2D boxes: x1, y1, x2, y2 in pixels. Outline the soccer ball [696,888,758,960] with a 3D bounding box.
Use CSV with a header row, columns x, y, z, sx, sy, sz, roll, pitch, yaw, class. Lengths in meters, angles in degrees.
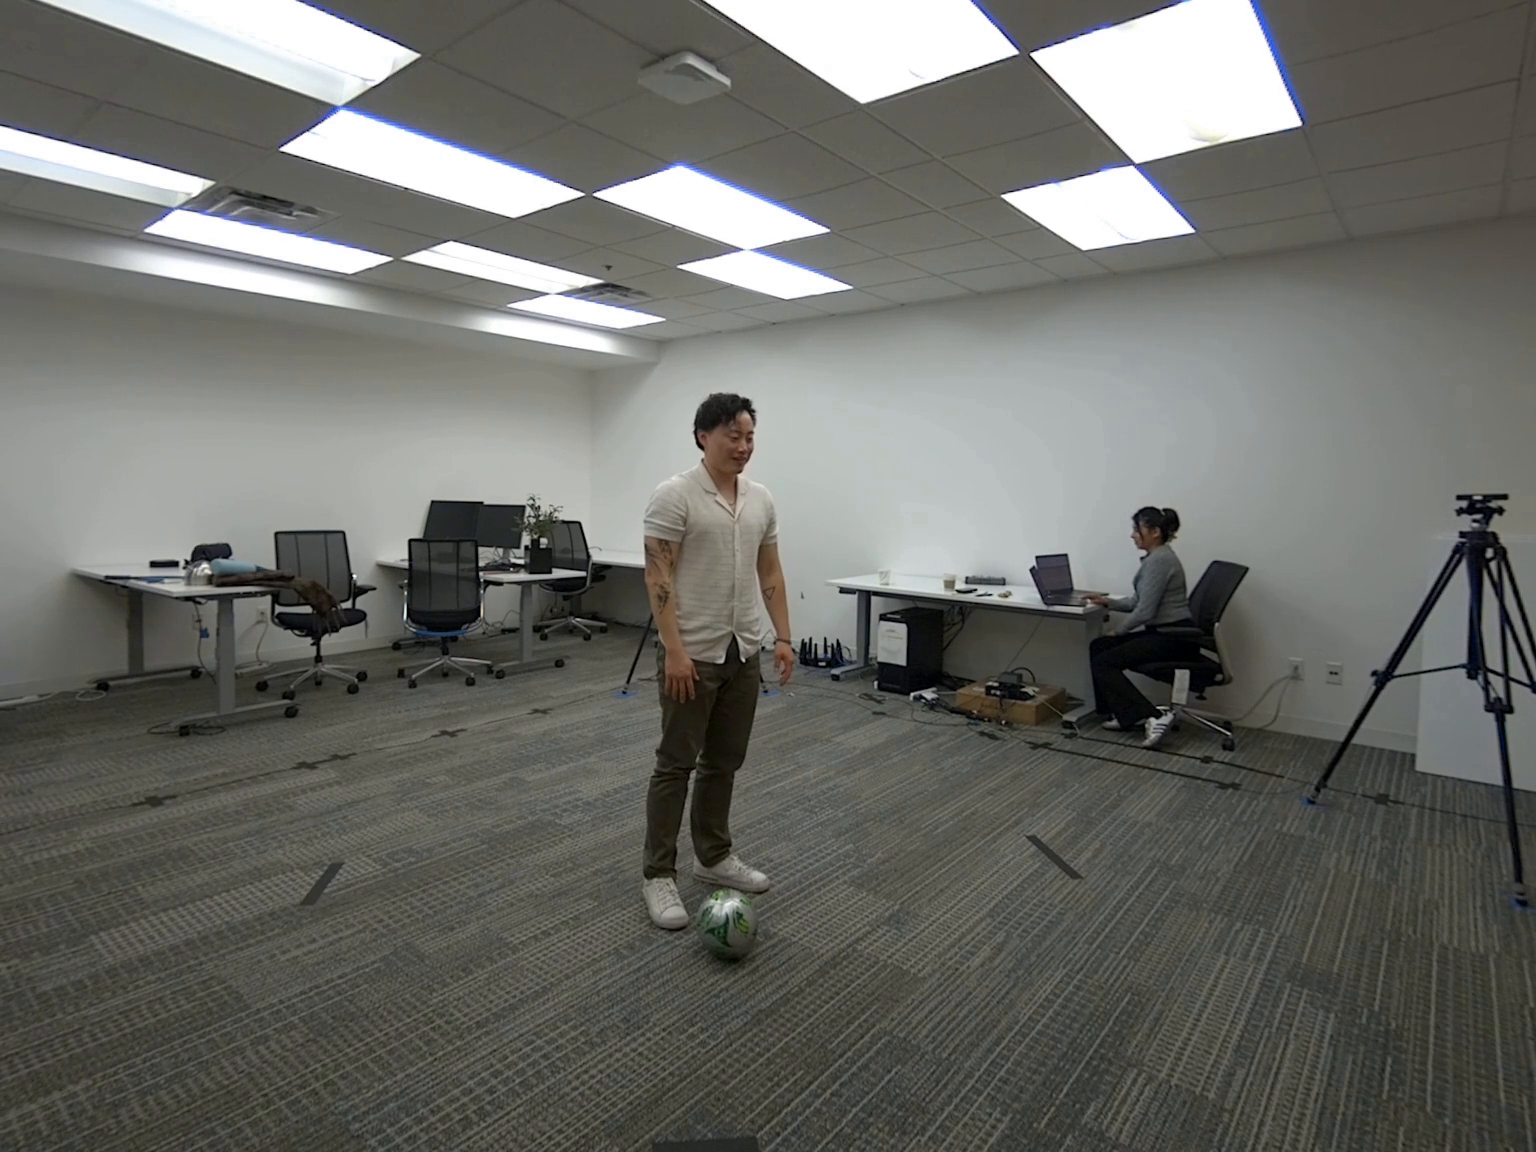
x,y,z,sx,sy,sz,roll,pitch,yaw,class
-0.129,1.030,2.532,0.187,0.187,0.188,1,4,-2,soccer ball
